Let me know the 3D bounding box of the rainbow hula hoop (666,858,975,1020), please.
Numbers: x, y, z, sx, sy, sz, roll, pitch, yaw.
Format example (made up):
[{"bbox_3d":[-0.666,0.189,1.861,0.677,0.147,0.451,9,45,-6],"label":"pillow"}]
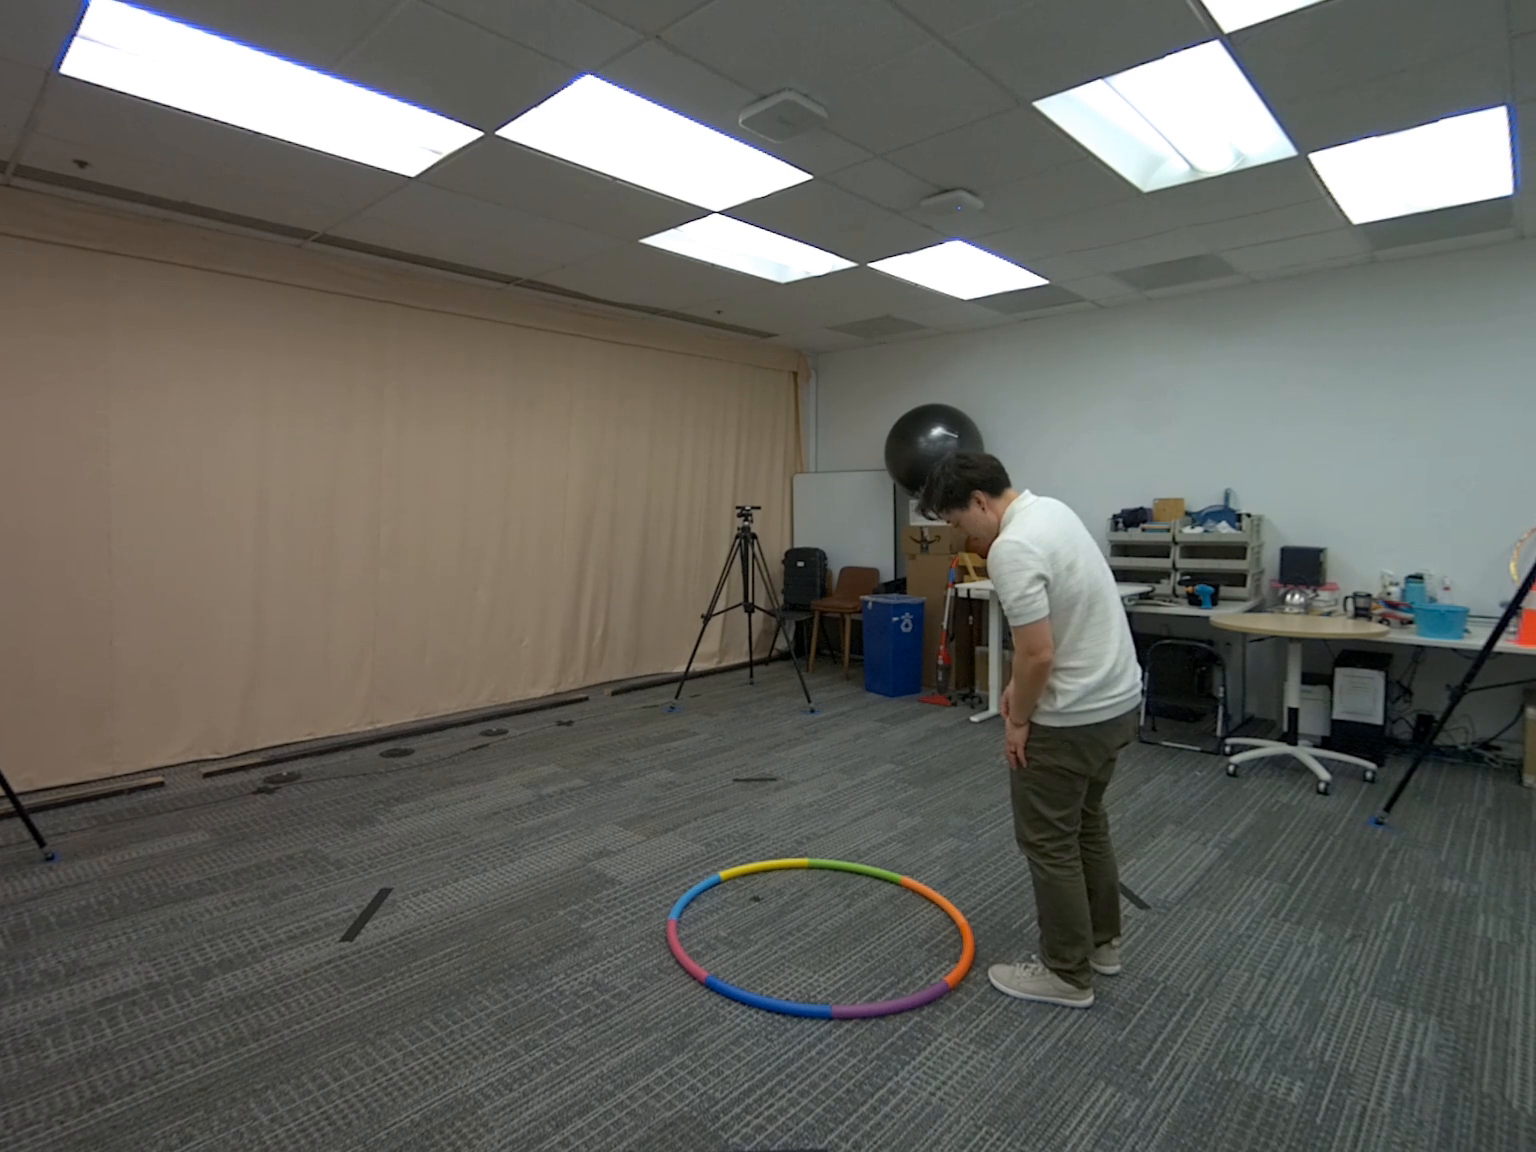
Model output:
[{"bbox_3d":[0.163,1.130,2.762,0.978,0.035,0.982,-1,5,-2],"label":"rainbow hula hoop"}]
